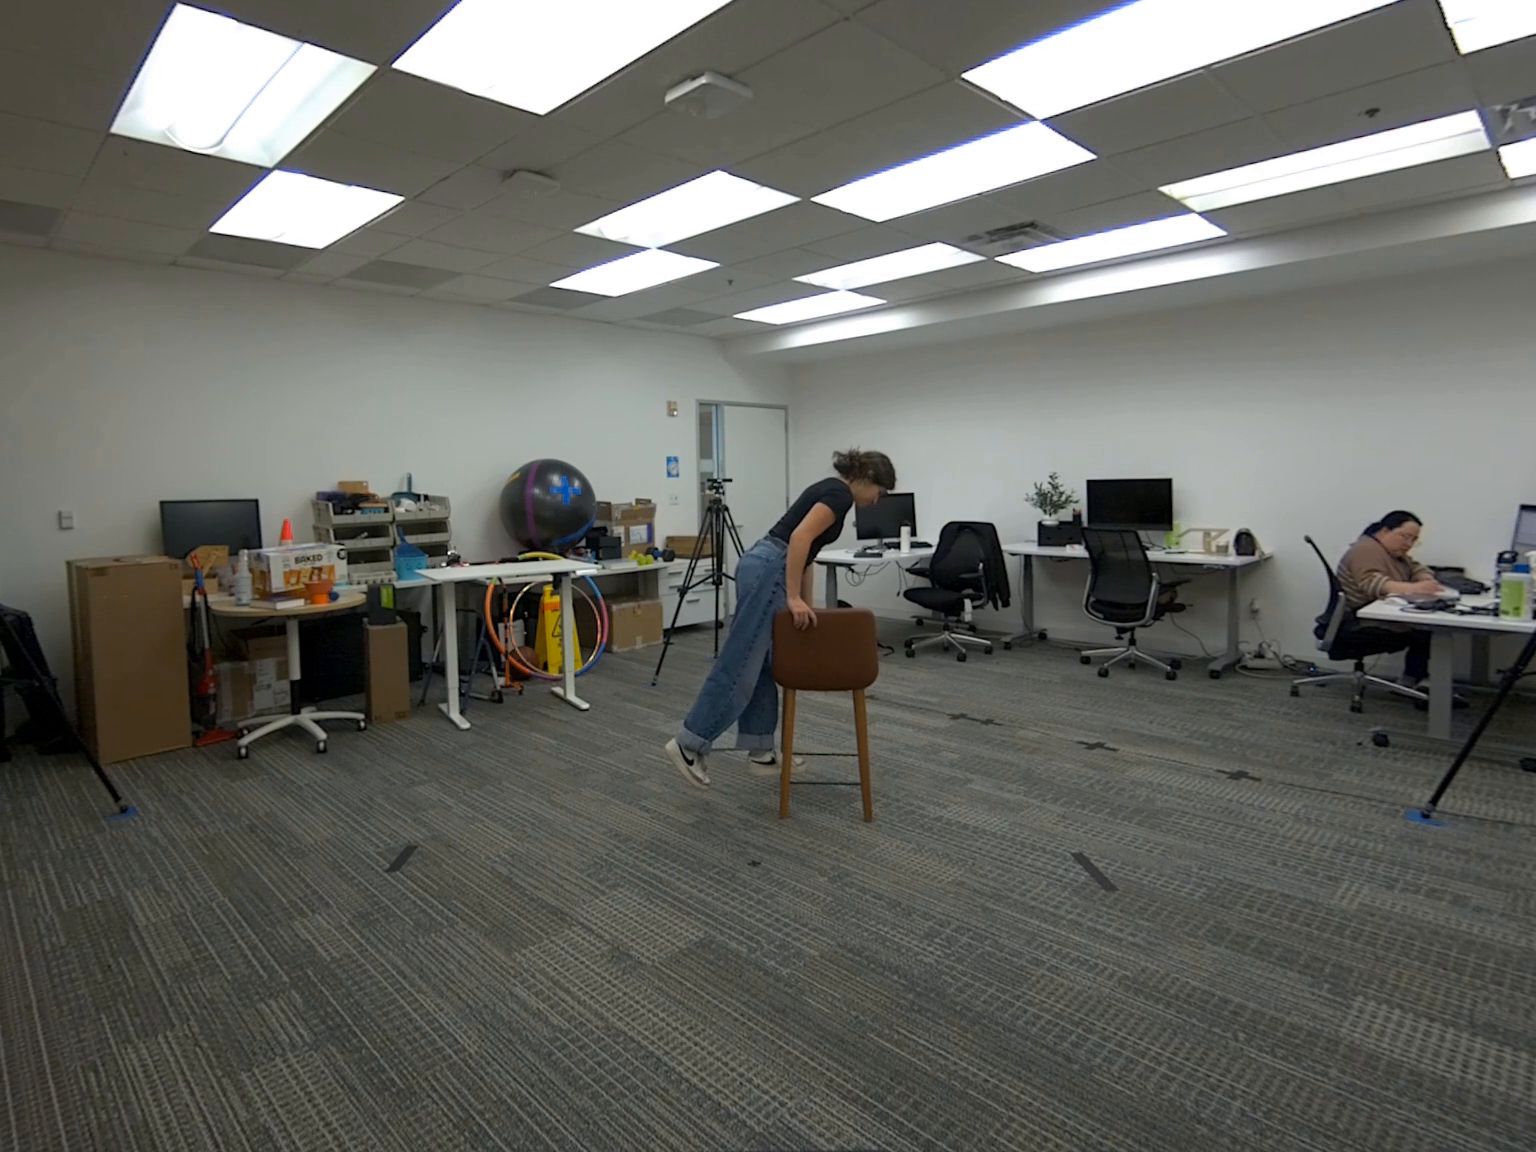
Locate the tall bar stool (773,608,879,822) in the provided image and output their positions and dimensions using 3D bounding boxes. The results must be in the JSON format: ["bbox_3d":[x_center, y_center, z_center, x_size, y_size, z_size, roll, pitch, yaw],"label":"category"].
[{"bbox_3d":[0.241,0.536,3.680,0.459,0.885,0.467,0,6,5],"label":"tall bar stool"}]
